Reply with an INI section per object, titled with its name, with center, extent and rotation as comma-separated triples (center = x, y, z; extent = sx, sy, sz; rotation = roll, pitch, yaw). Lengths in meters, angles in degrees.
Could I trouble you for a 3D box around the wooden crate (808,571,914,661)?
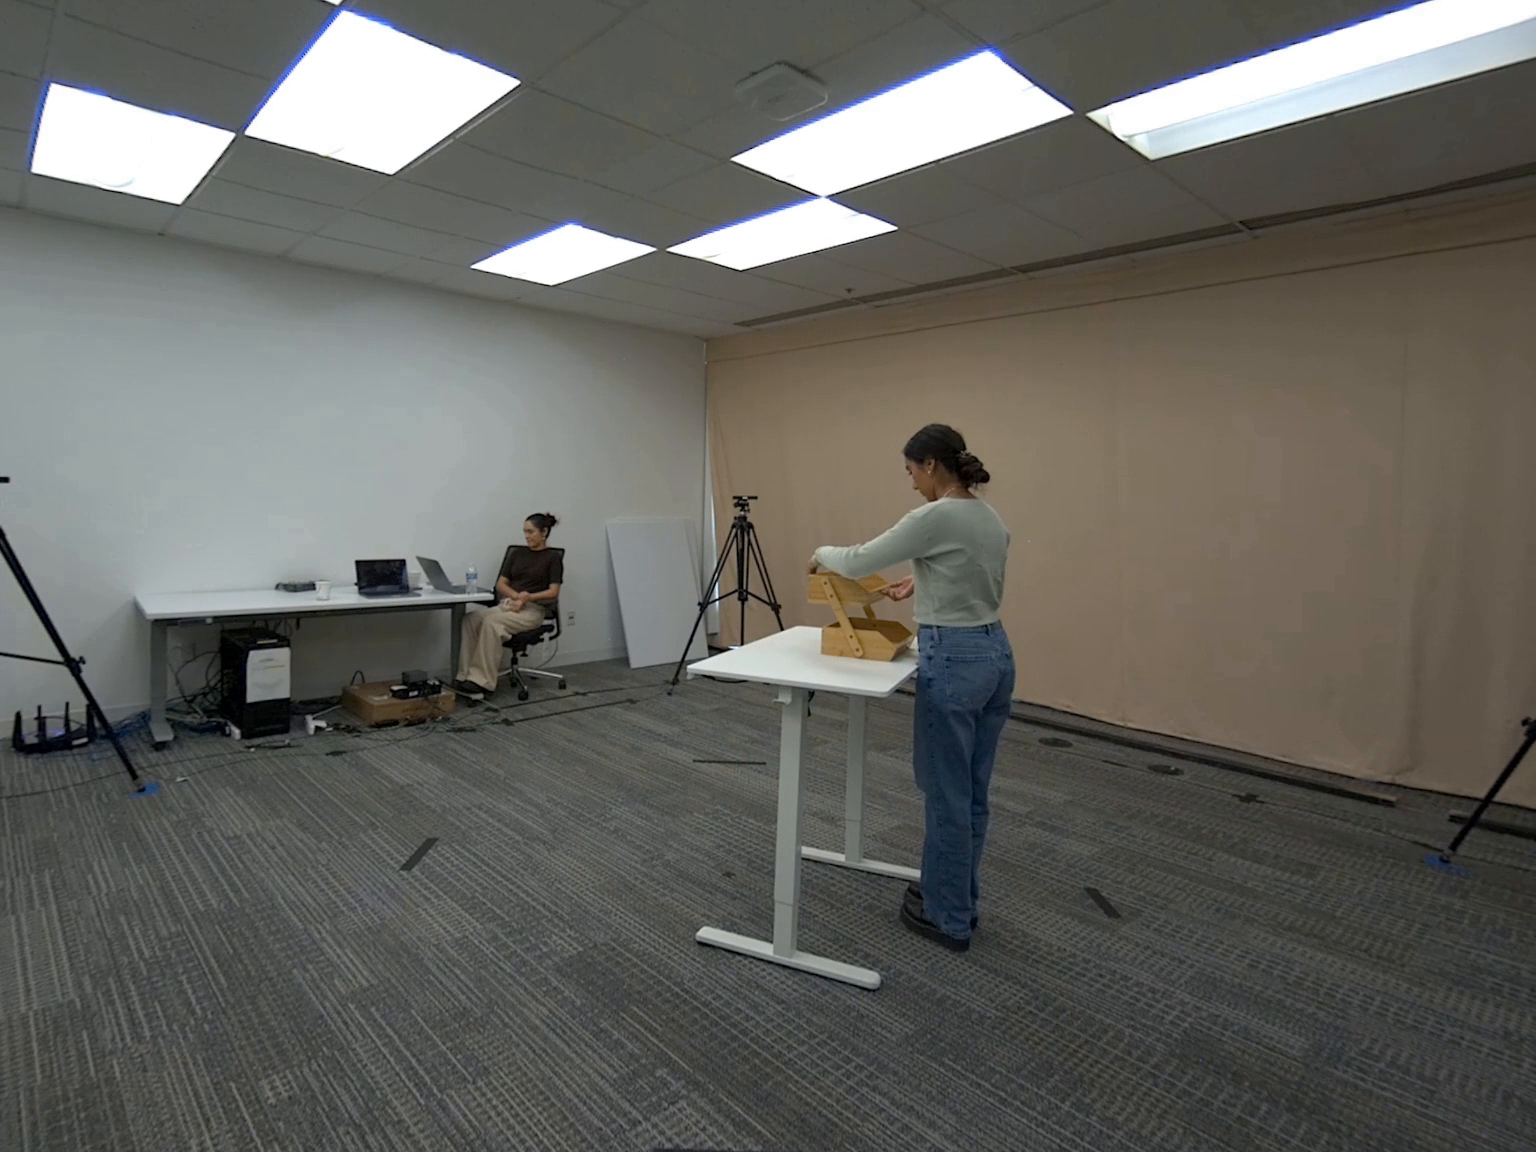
[wooden crate]
center = 0.324, 0.124, 2.860
extent = 0.307, 0.272, 0.319
rotation = 3, 4, 22
